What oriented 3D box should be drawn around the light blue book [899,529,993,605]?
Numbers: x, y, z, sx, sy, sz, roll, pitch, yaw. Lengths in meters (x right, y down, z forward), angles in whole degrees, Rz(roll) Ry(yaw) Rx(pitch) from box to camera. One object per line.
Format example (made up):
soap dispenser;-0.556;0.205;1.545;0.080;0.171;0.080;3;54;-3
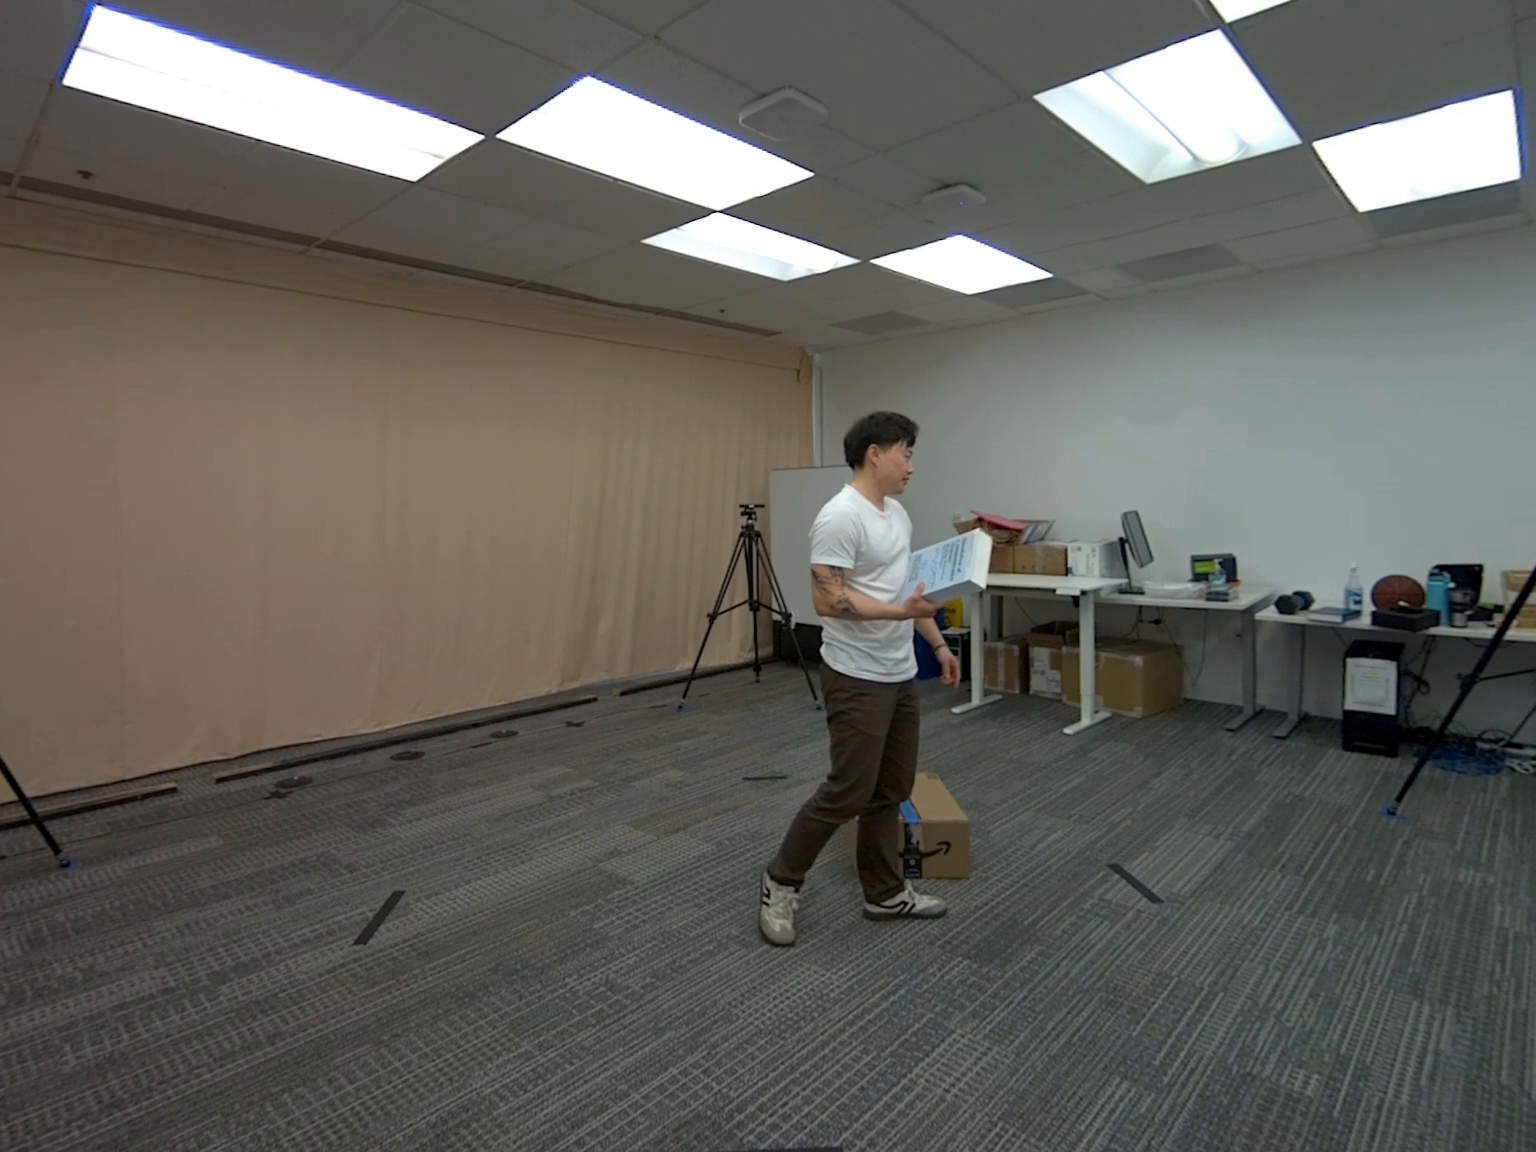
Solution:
light blue book;0.534;-0.016;2.501;0.057;0.192;0.267;35;-35;-26
